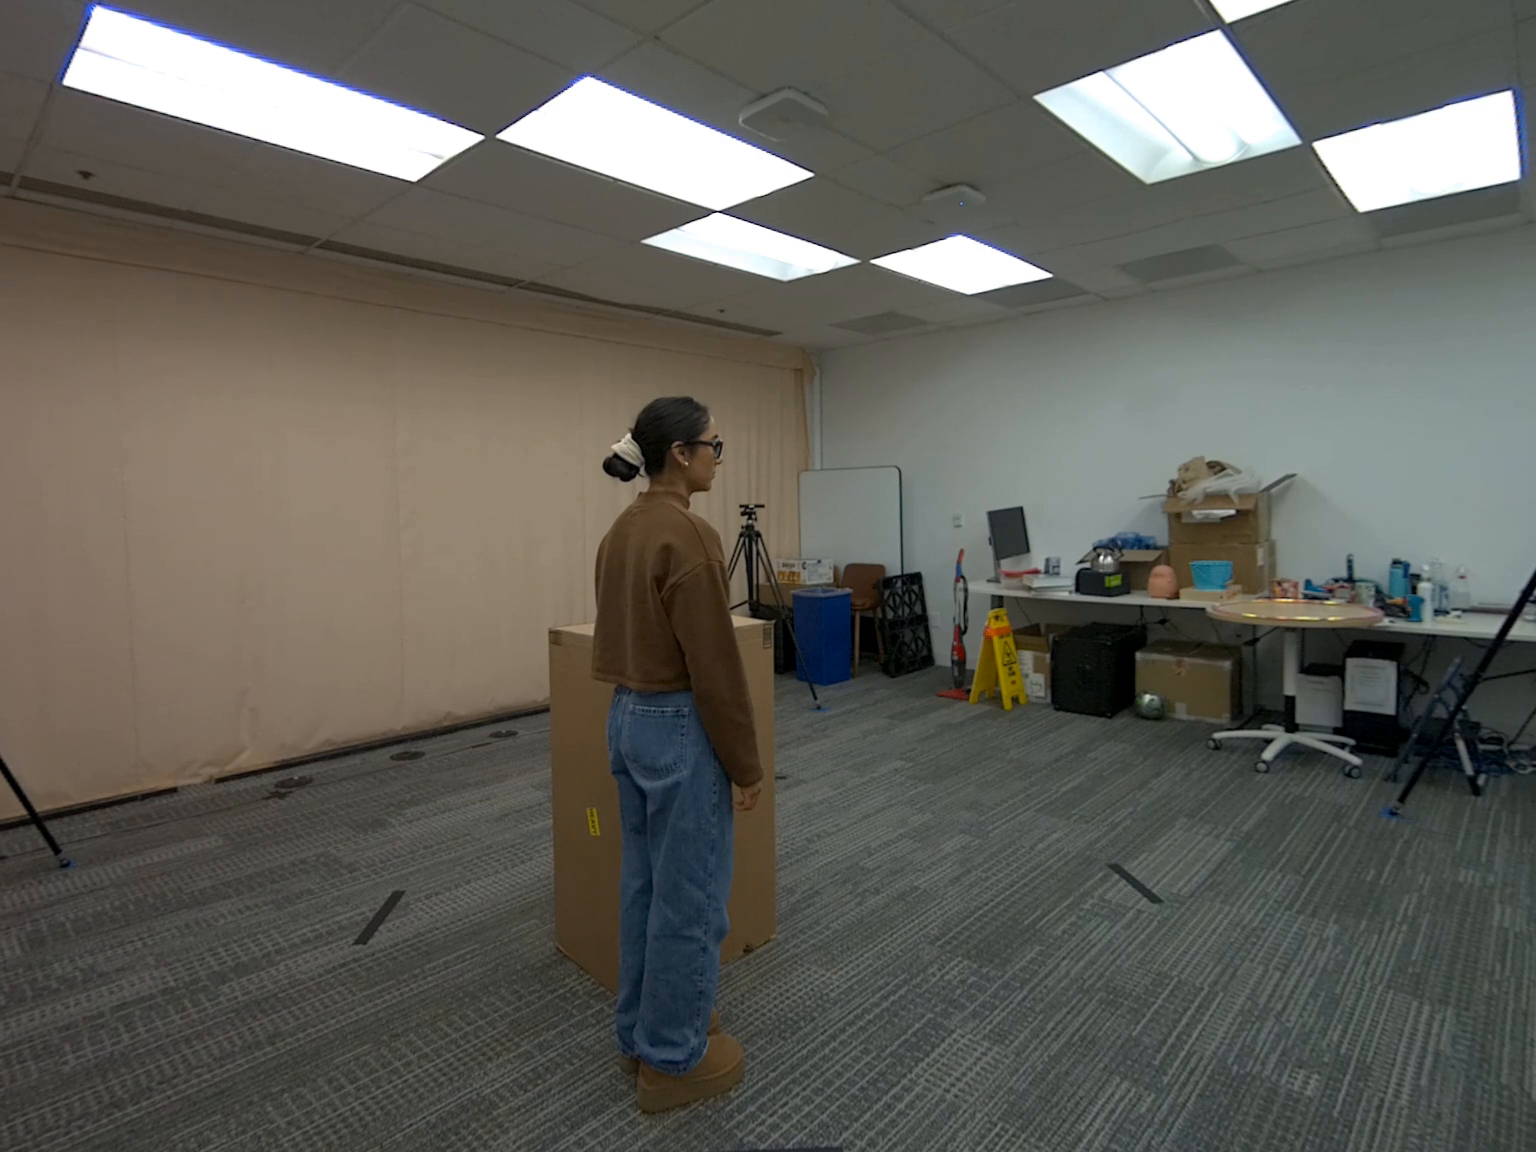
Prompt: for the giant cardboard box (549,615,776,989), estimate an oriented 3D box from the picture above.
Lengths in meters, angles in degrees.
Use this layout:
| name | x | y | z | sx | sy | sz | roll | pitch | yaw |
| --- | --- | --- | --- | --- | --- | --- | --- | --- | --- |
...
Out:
| name | x | y | z | sx | sy | sz | roll | pitch | yaw |
| --- | --- | --- | --- | --- | --- | --- | --- | --- | --- |
| giant cardboard box | -0.328 | 0.667 | 2.664 | 0.560 | 1.024 | 0.440 | -3 | 4 | -42 |
